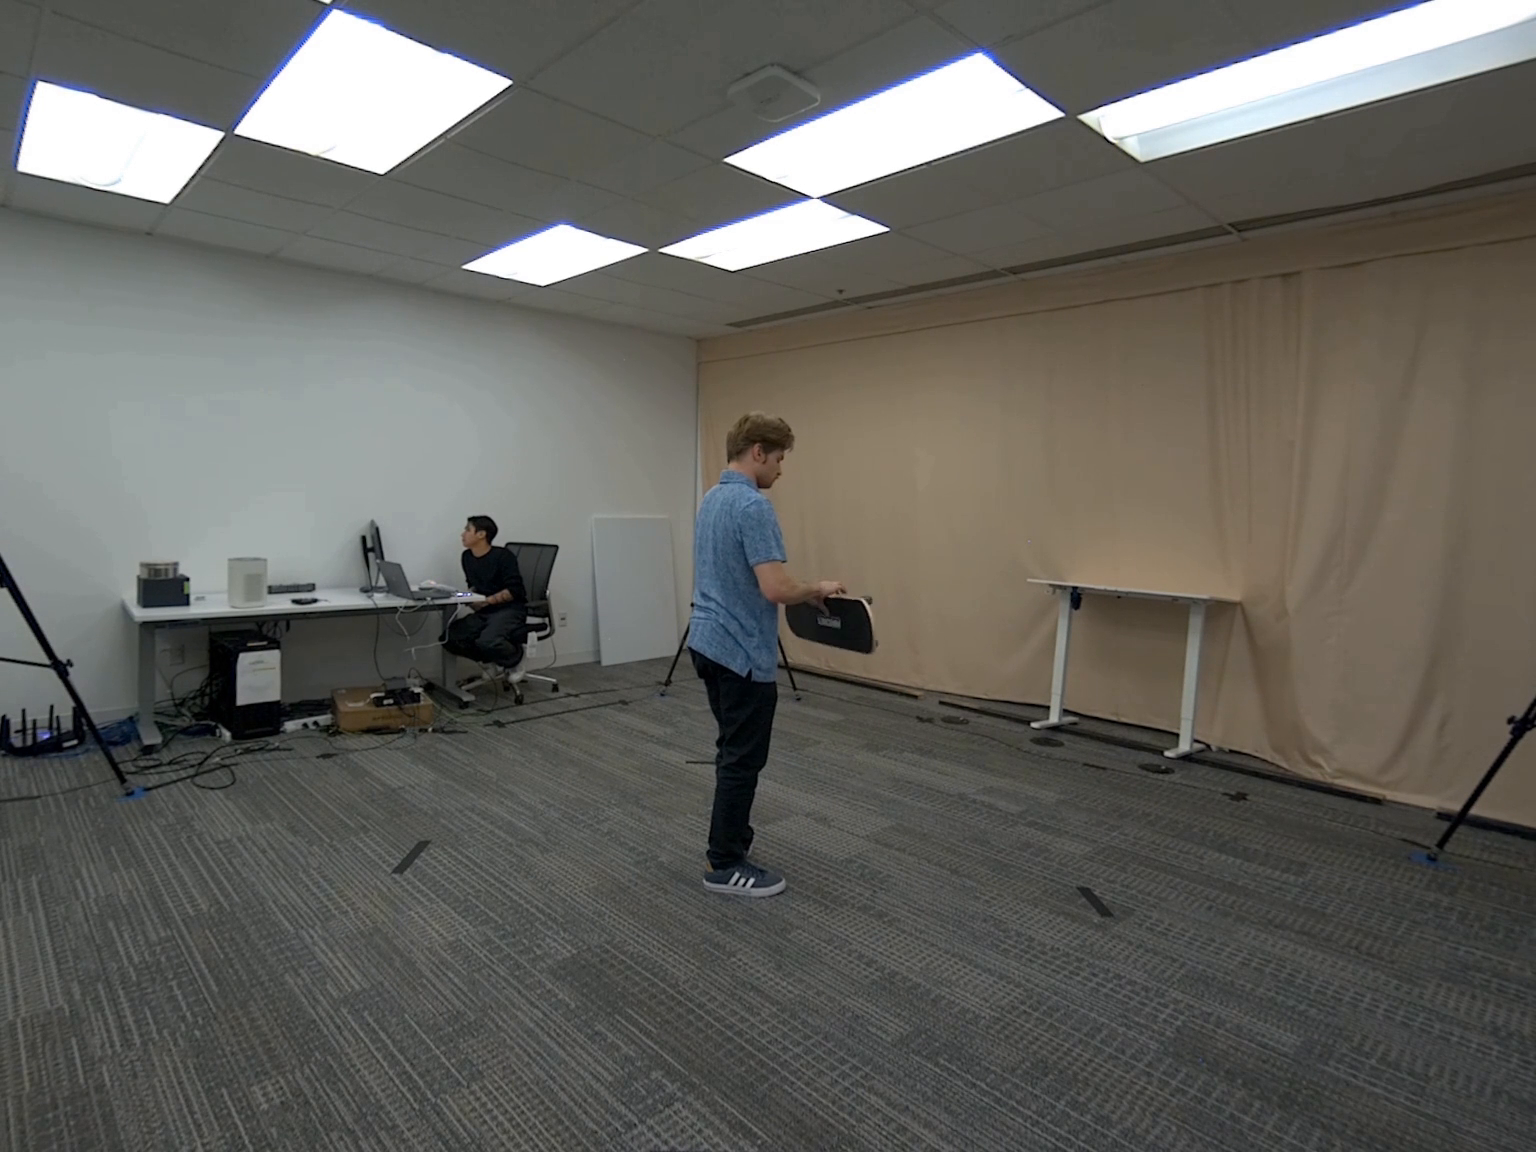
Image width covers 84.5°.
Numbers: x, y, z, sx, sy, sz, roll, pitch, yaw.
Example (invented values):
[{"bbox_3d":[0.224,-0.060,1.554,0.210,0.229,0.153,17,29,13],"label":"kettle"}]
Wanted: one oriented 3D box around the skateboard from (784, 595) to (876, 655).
[{"bbox_3d":[0.248,0.163,3.174,0.109,0.193,0.796,-9,3,-19],"label":"skateboard"}]
